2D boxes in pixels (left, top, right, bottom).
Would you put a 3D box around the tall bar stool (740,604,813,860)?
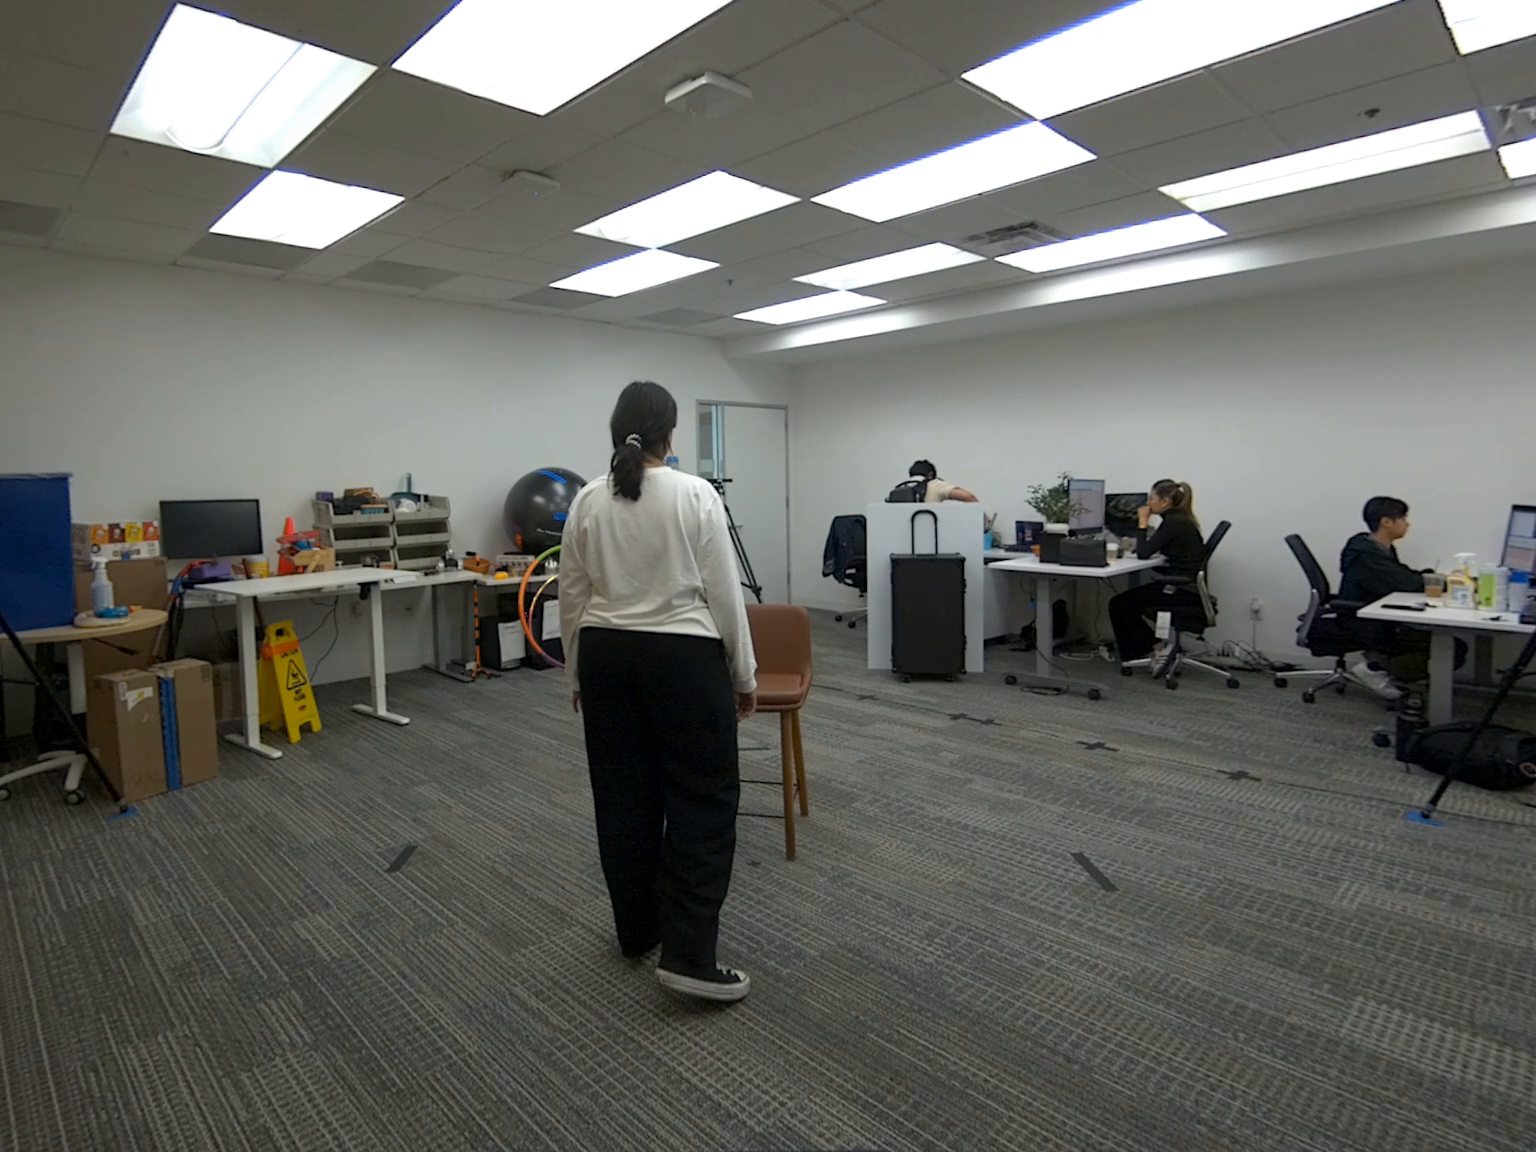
[{"bbox_3d":[-0.060,0.581,3.367,0.463,0.888,0.462,0,2,14],"label":"tall bar stool"}]
